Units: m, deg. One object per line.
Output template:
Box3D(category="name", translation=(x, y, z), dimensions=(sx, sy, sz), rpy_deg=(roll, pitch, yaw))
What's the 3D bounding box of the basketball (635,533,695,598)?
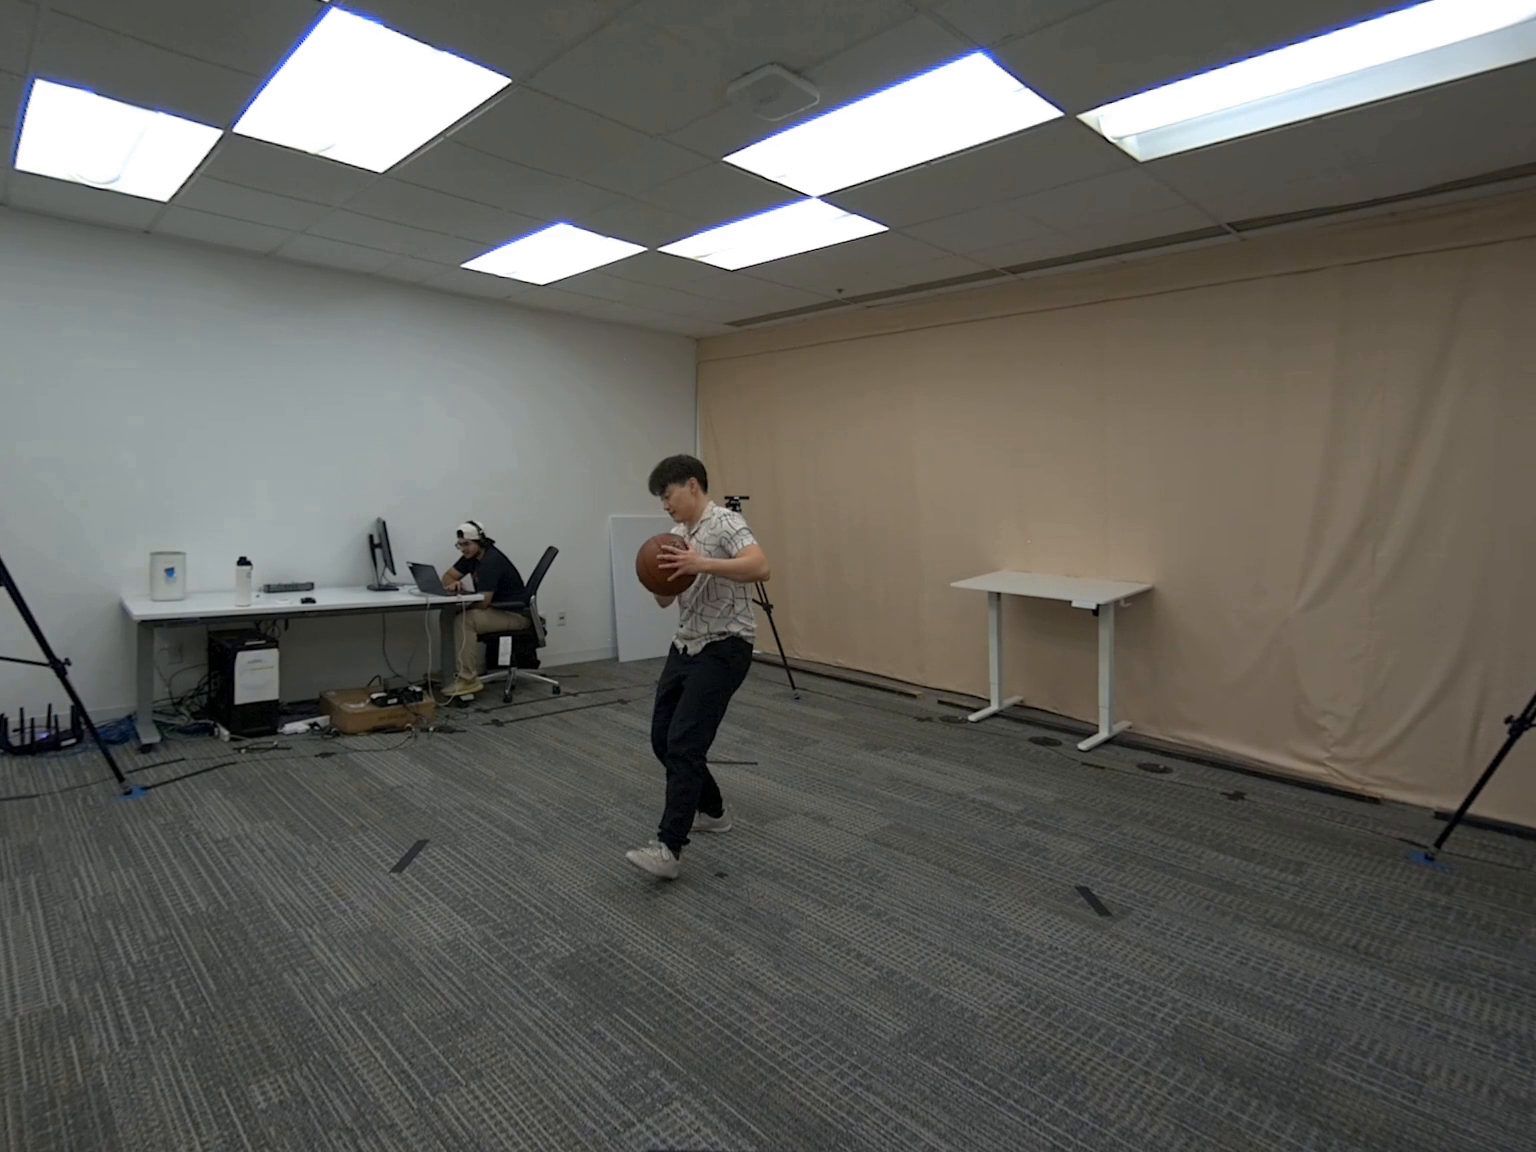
Box3D(category="basketball", translation=(-0.392, -0.024, 3.169), dimensions=(0.236, 0.235, 0.237), rpy_deg=(1, 4, -1))
